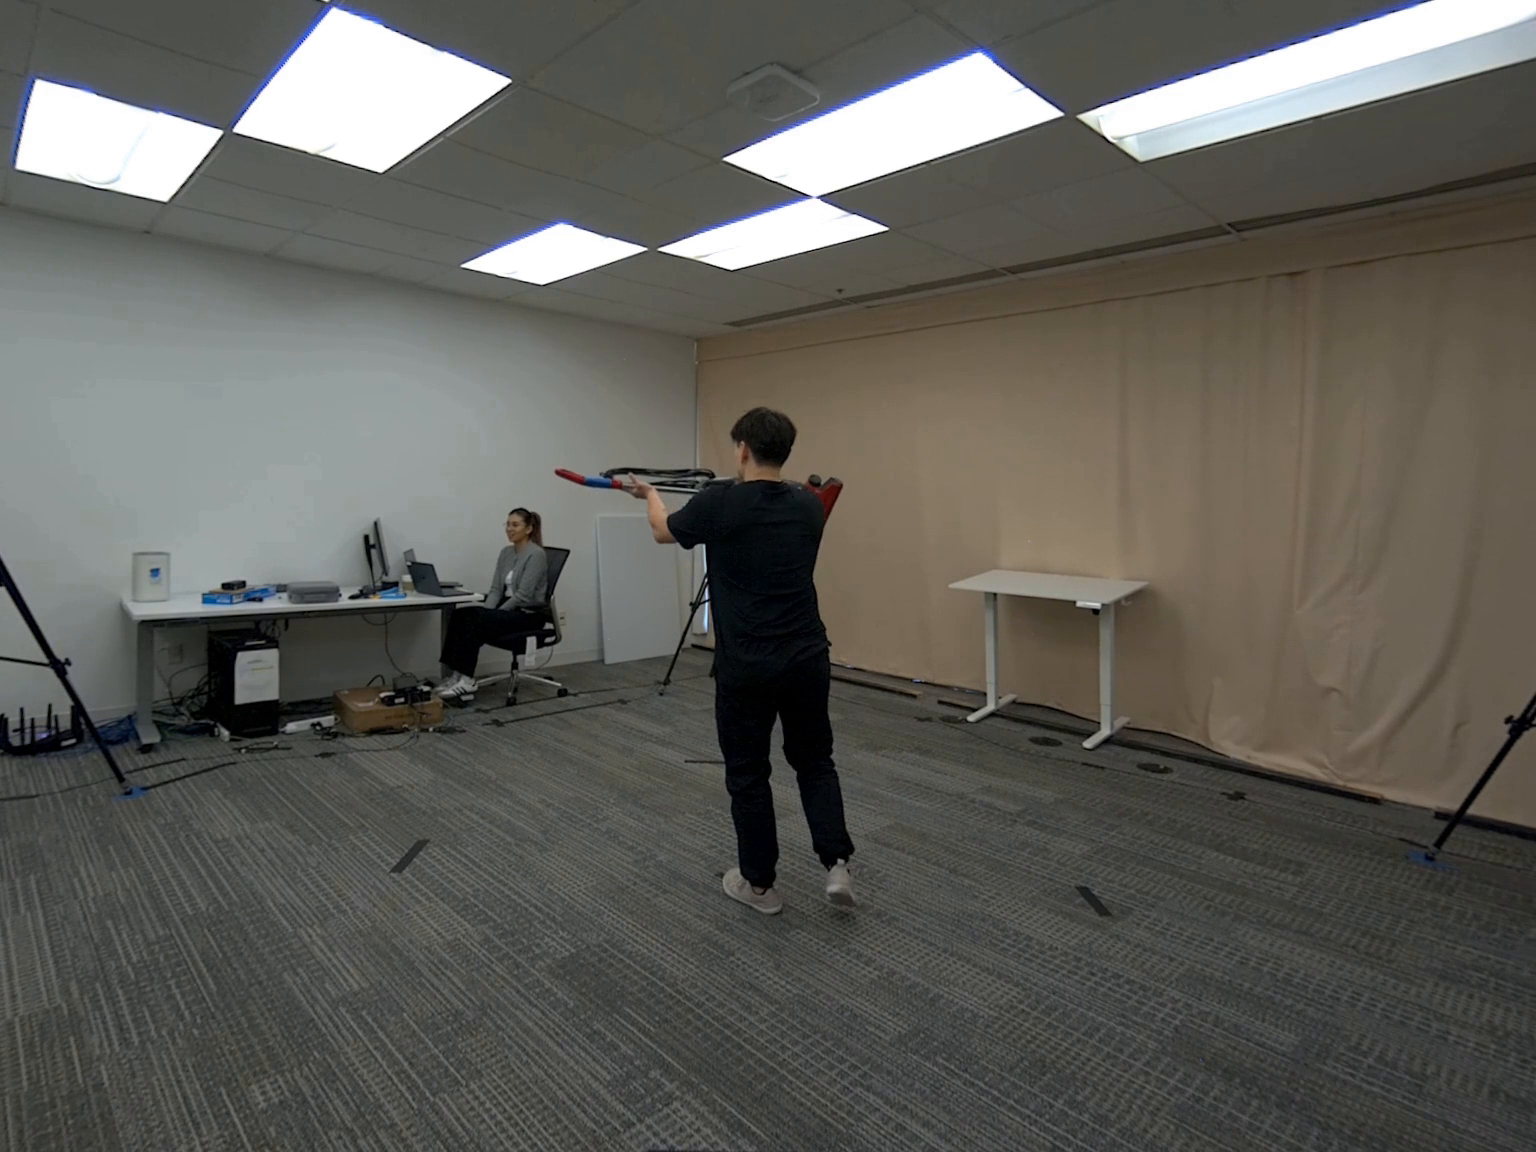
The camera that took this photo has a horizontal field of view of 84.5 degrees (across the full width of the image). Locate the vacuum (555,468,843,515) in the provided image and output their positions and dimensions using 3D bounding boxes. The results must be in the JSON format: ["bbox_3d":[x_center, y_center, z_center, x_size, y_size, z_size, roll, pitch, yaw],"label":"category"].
[{"bbox_3d":[-0.274,-0.344,3.223,1.034,0.249,0.148,6,45,-17],"label":"vacuum"}]
